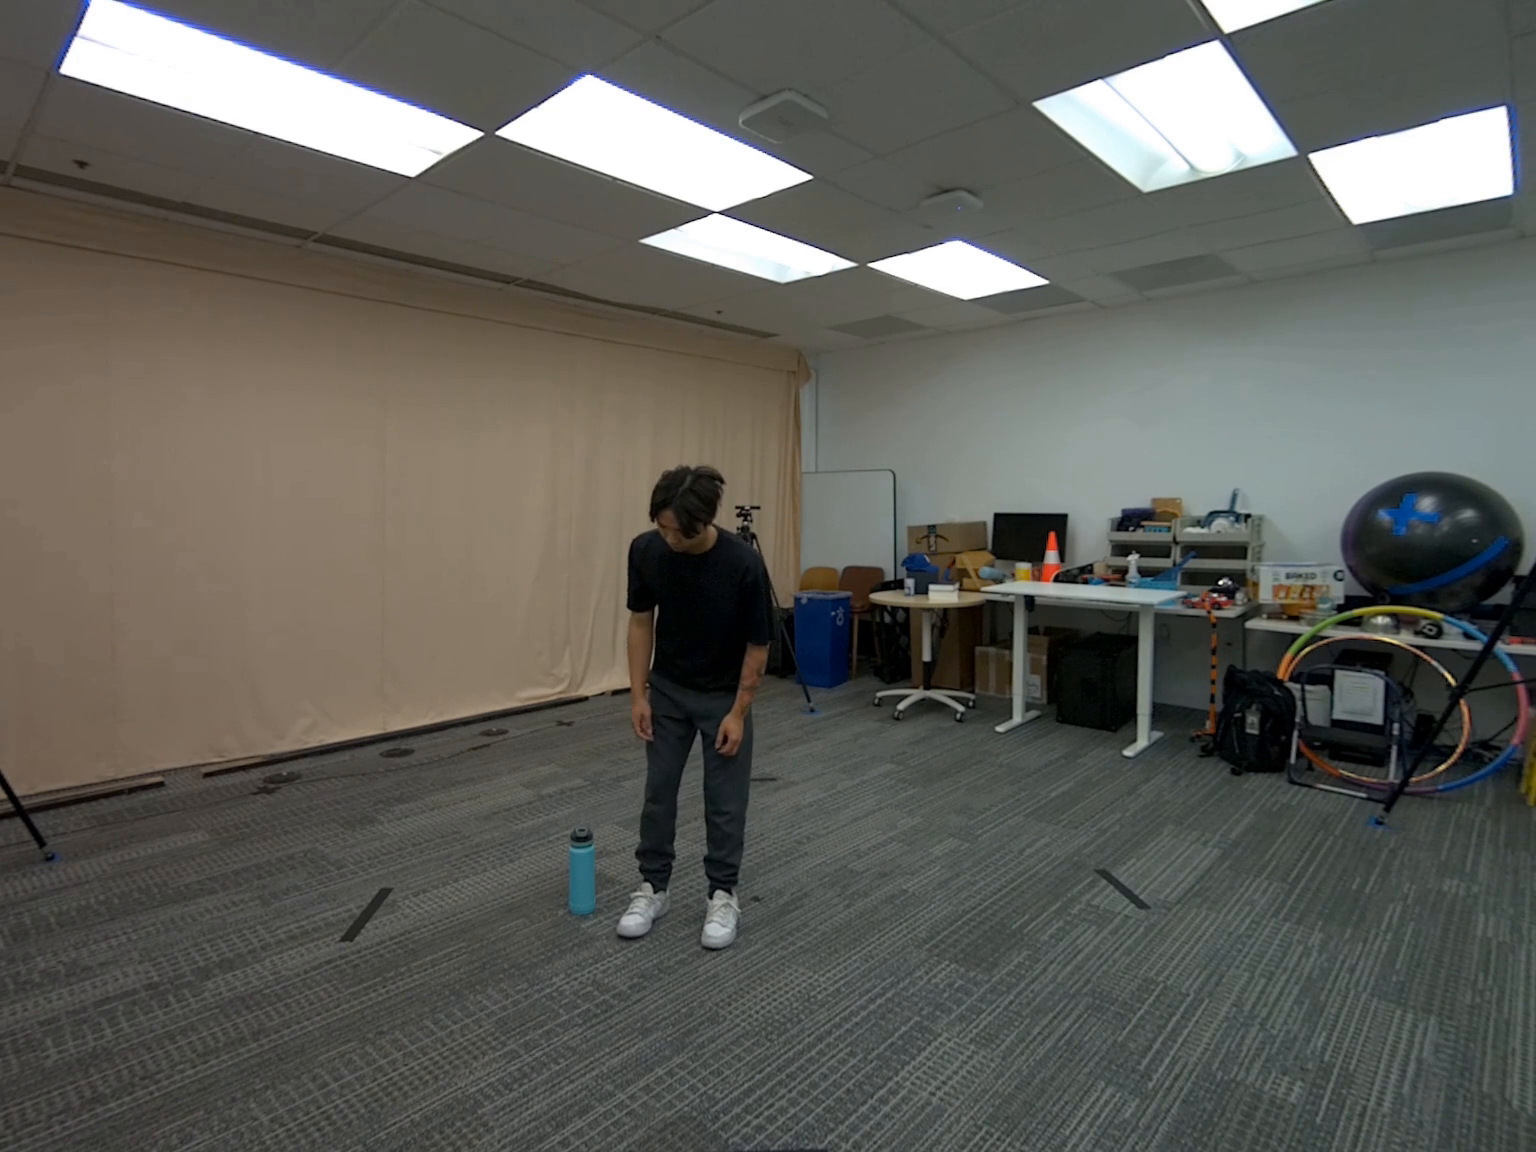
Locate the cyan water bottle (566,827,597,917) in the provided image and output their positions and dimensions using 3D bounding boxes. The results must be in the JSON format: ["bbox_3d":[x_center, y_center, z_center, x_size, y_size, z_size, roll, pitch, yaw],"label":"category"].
[{"bbox_3d":[-0.644,1.015,2.913,0.092,0.283,0.092,0,1,-2],"label":"cyan water bottle"}]
